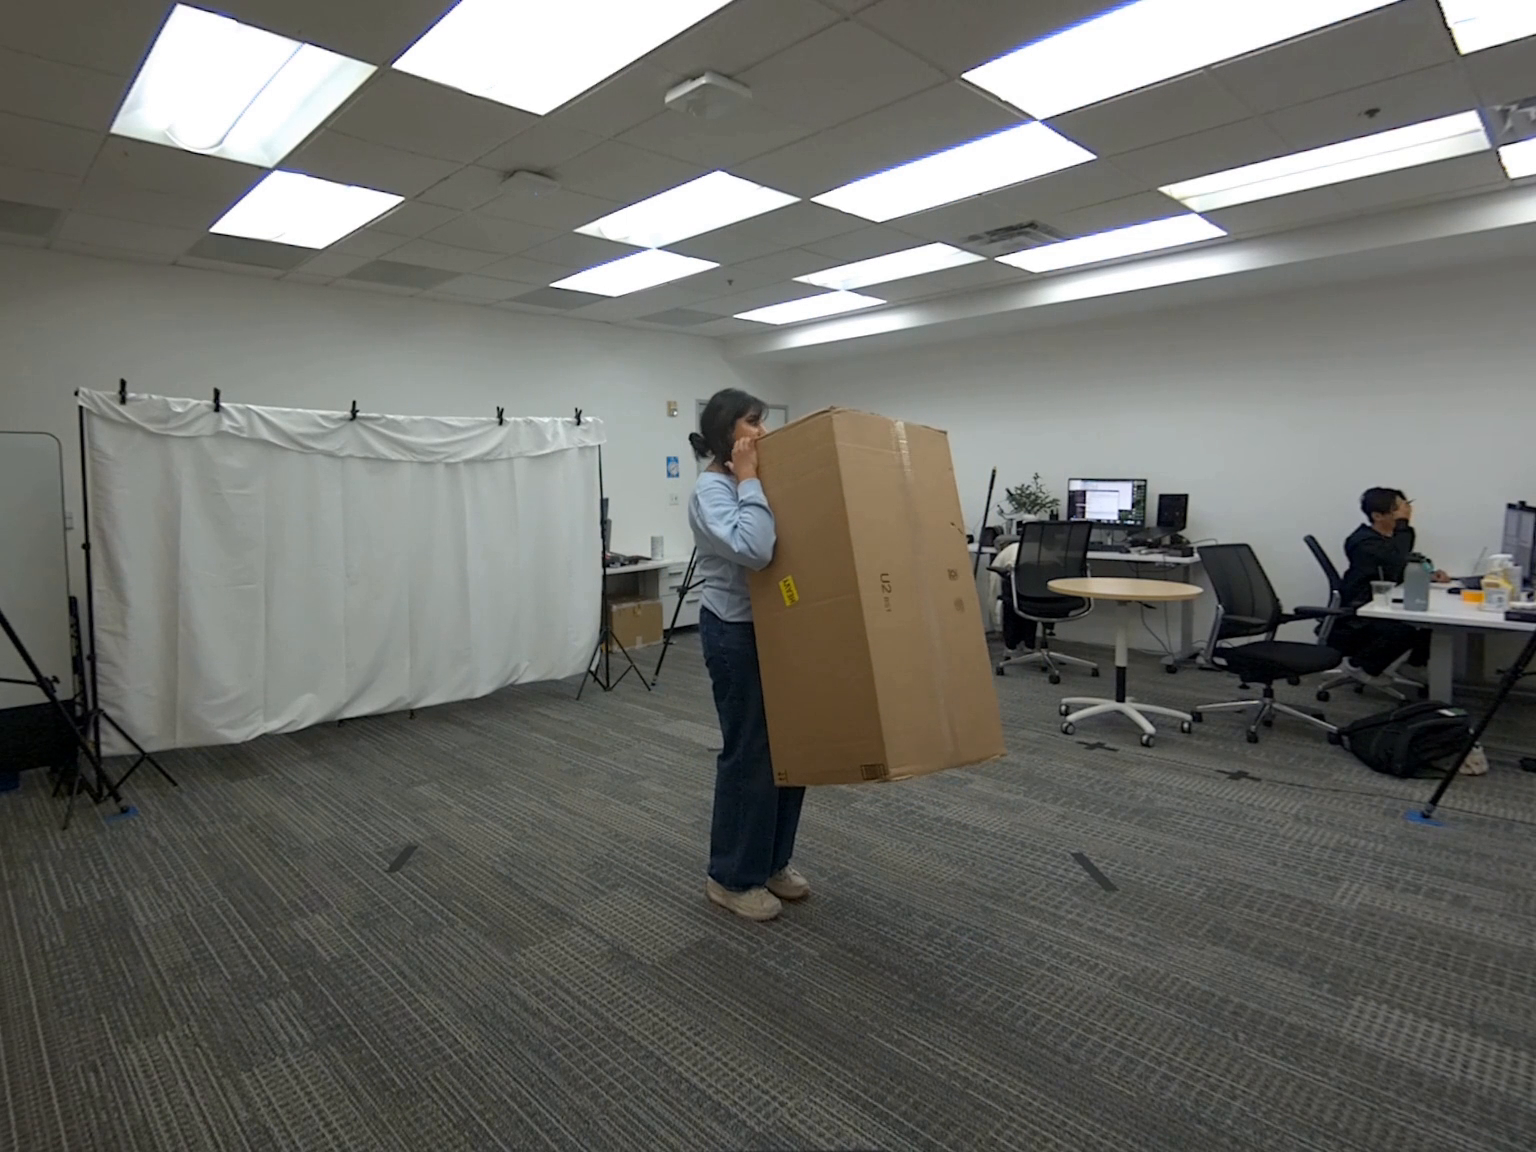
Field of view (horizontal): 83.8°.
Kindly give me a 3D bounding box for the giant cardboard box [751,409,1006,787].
[{"bbox_3d":[0.302,0.072,2.605,0.566,1.040,0.455,3,-15,-42],"label":"giant cardboard box"}]
